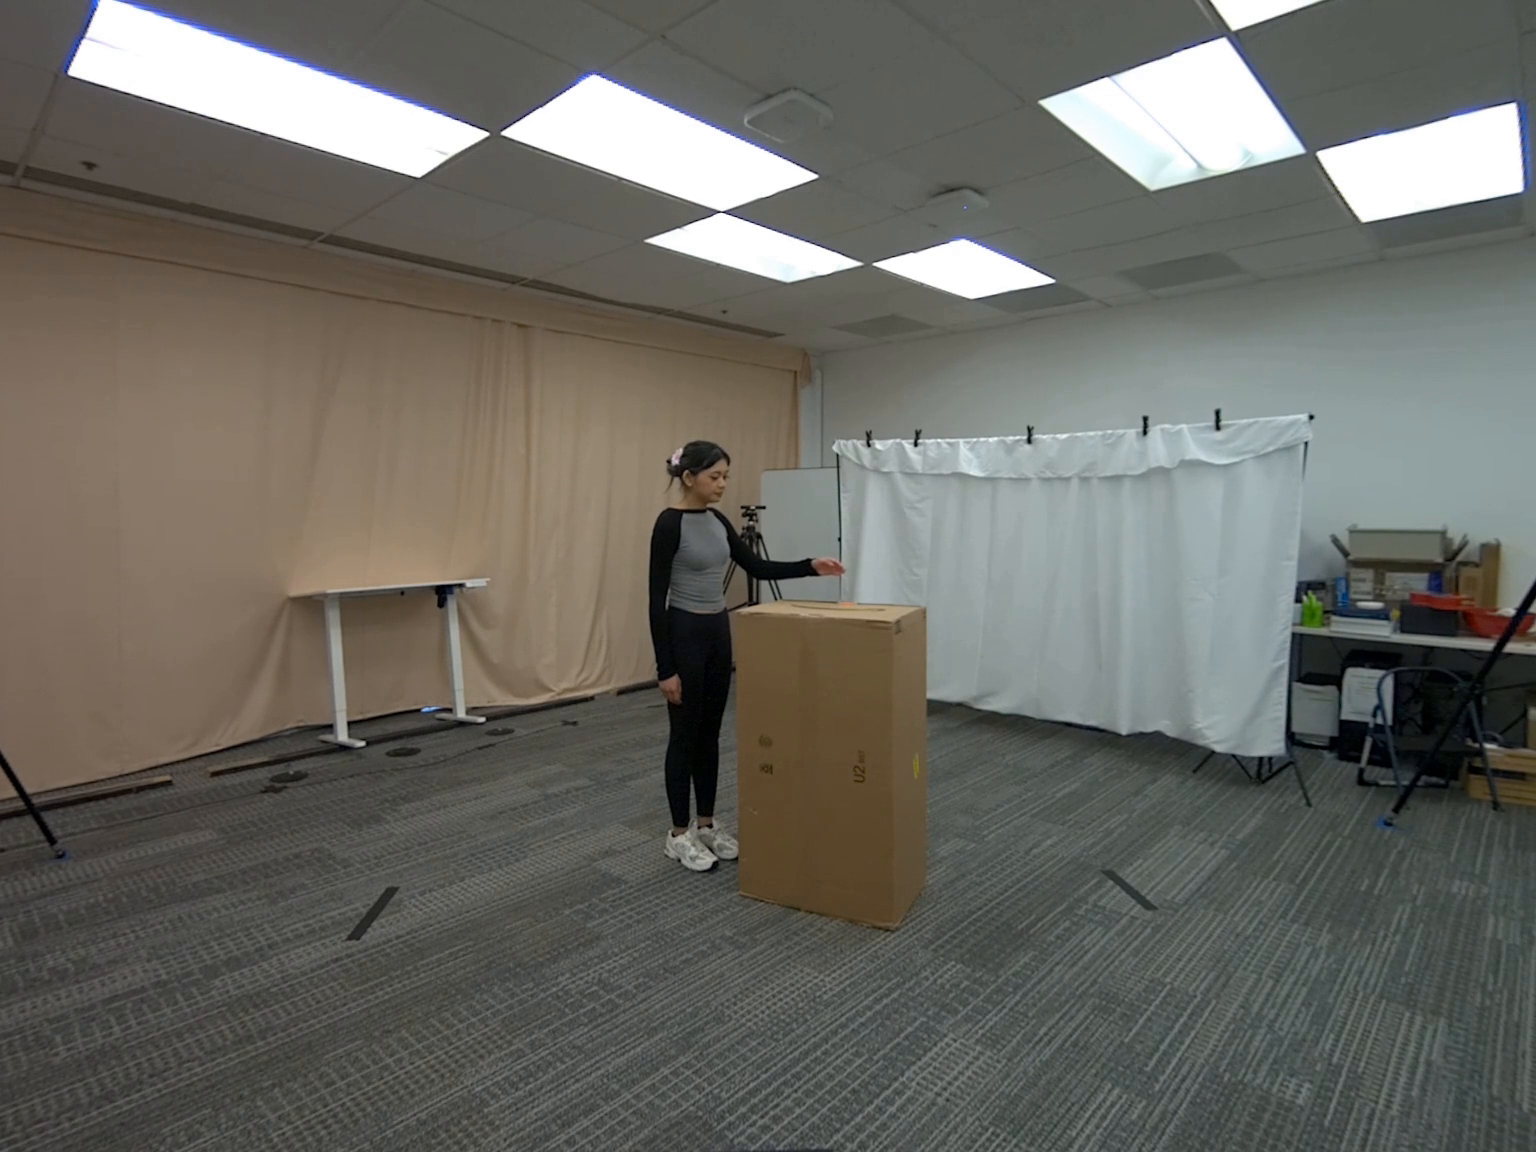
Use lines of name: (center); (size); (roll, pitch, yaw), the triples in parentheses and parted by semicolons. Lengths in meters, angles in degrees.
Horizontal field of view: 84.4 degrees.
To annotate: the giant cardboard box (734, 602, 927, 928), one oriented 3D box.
giant cardboard box: (0.242, 0.631, 3.040); (0.599, 1.024, 0.436); (1, 4, 26)
